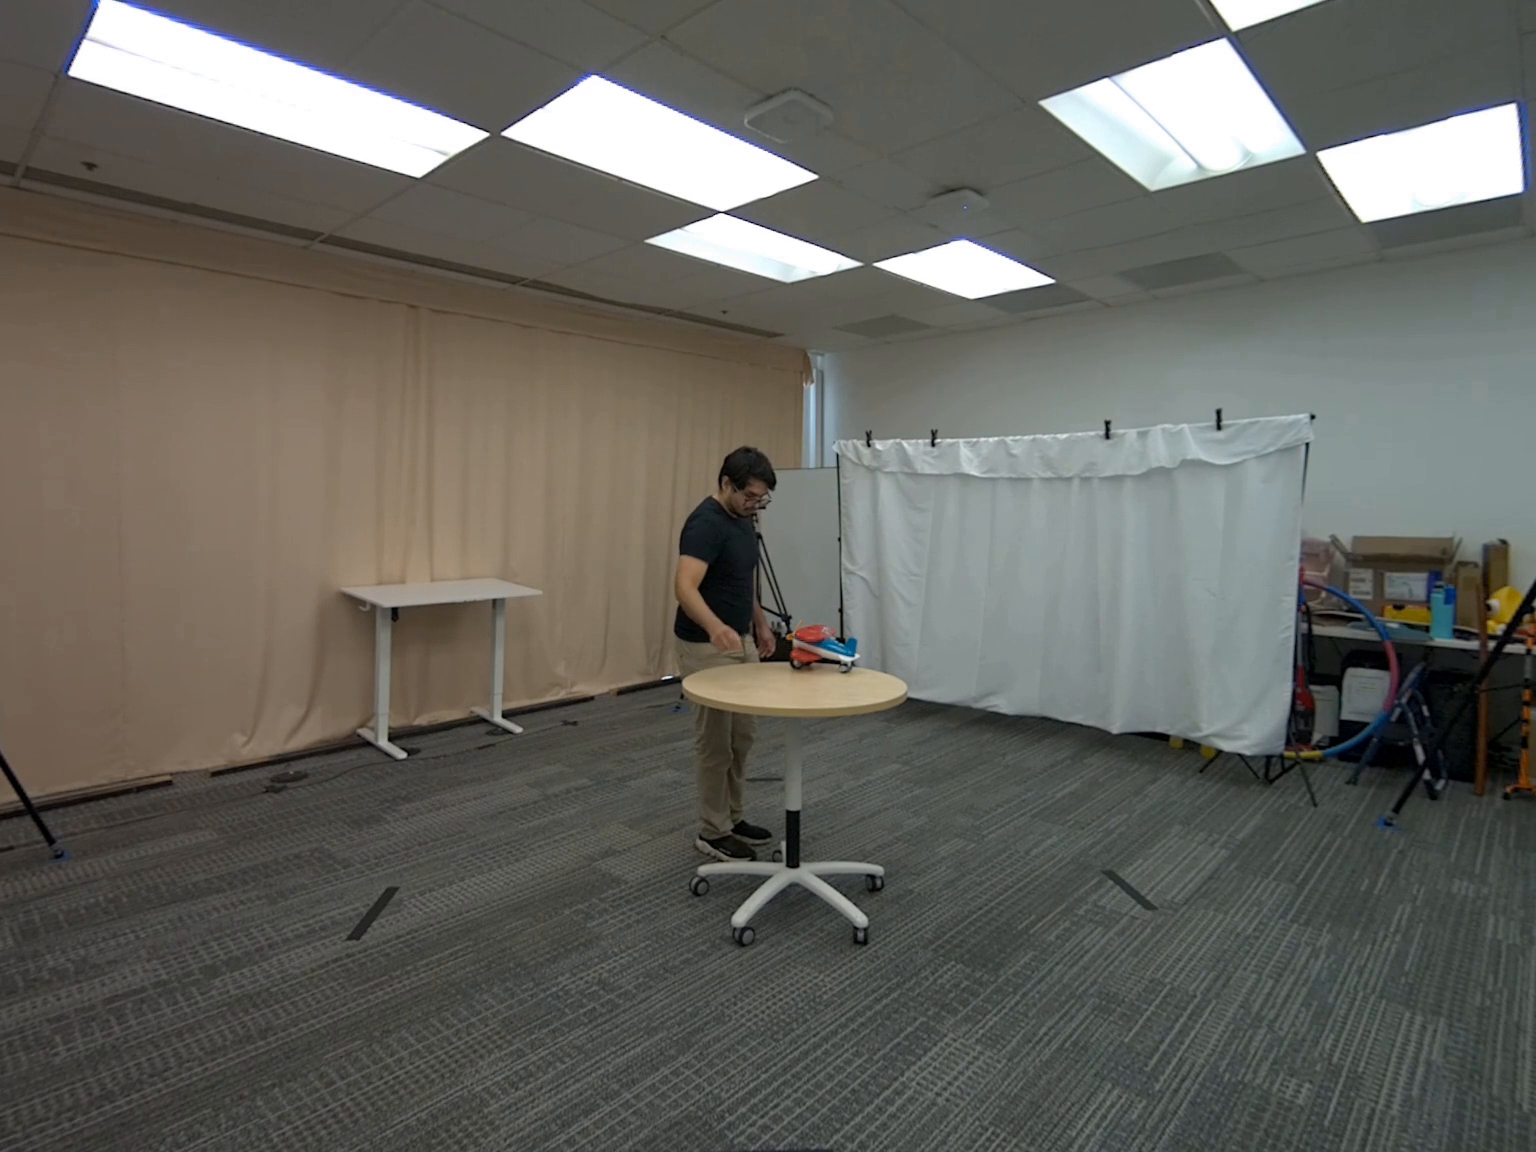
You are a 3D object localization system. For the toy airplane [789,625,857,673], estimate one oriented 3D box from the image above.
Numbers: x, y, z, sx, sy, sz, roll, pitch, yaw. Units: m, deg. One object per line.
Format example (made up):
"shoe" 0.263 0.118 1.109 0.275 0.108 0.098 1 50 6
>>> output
"toy airplane" 0.213 0.272 3.140 0.260 0.156 0.251 -1 4 1
